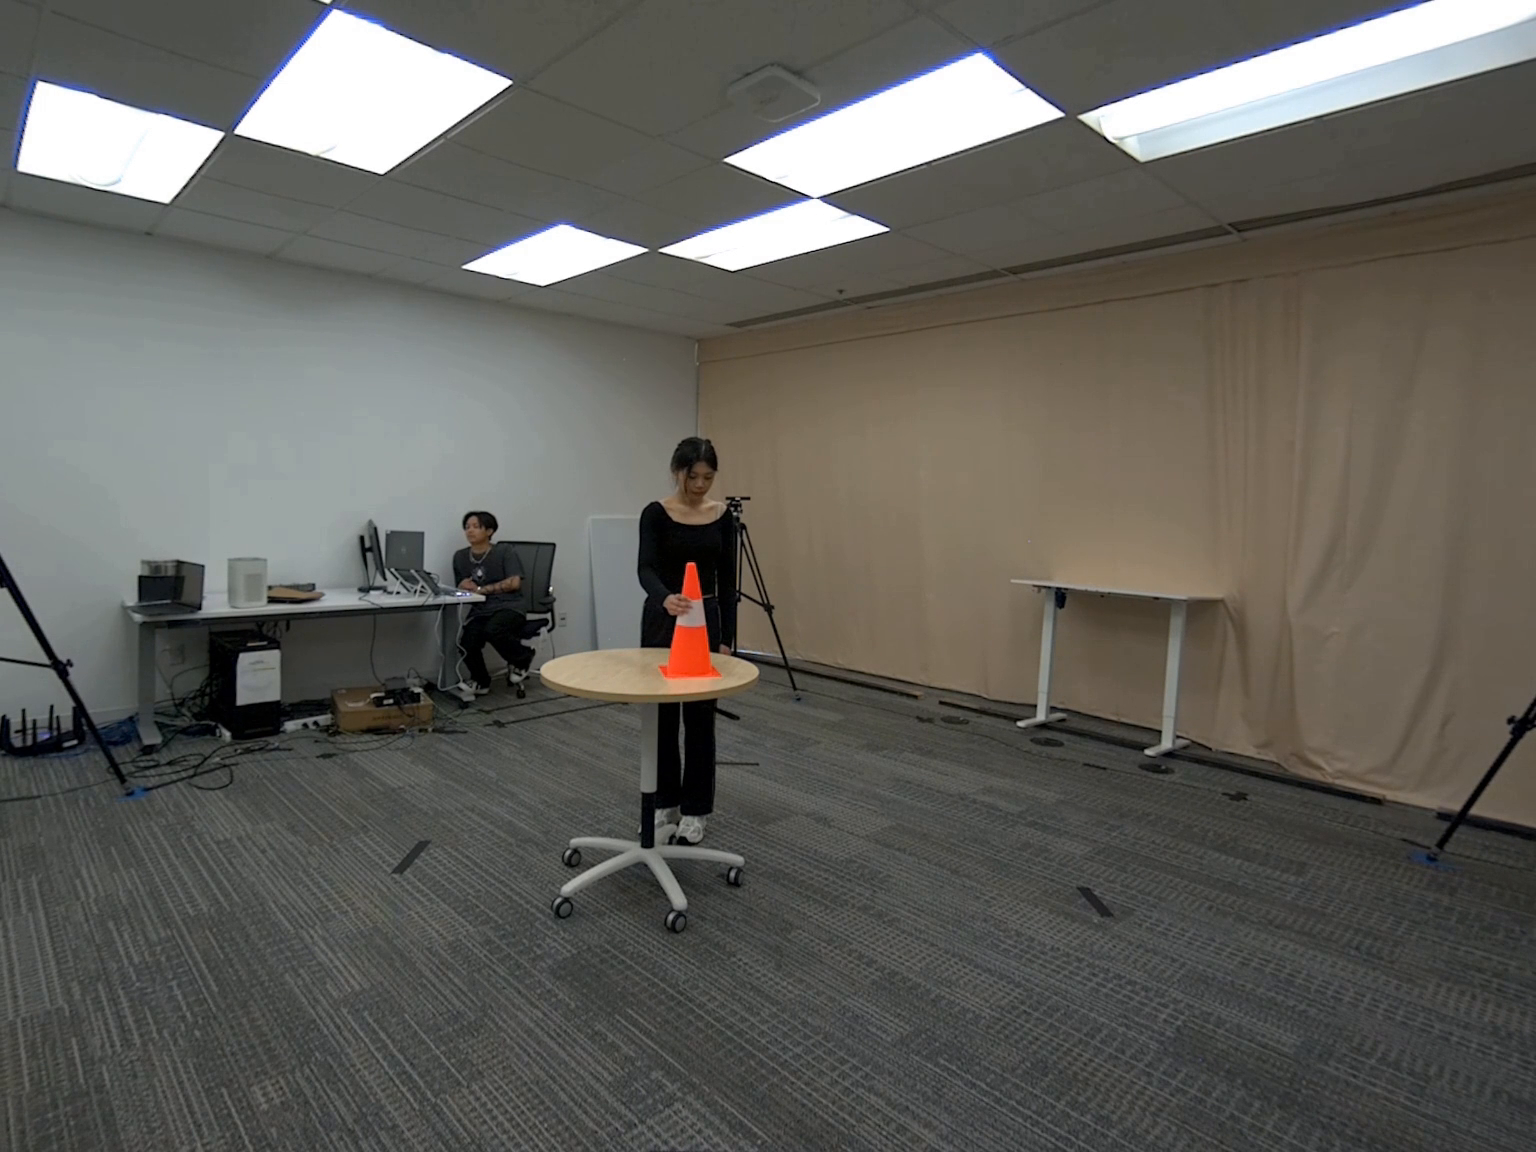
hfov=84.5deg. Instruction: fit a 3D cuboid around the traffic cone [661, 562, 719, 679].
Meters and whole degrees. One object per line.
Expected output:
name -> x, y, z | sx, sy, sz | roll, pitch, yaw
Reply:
traffic cone -> -0.286, 0.147, 2.927 | 0.203, 0.382, 0.206 | 1, 5, -15
